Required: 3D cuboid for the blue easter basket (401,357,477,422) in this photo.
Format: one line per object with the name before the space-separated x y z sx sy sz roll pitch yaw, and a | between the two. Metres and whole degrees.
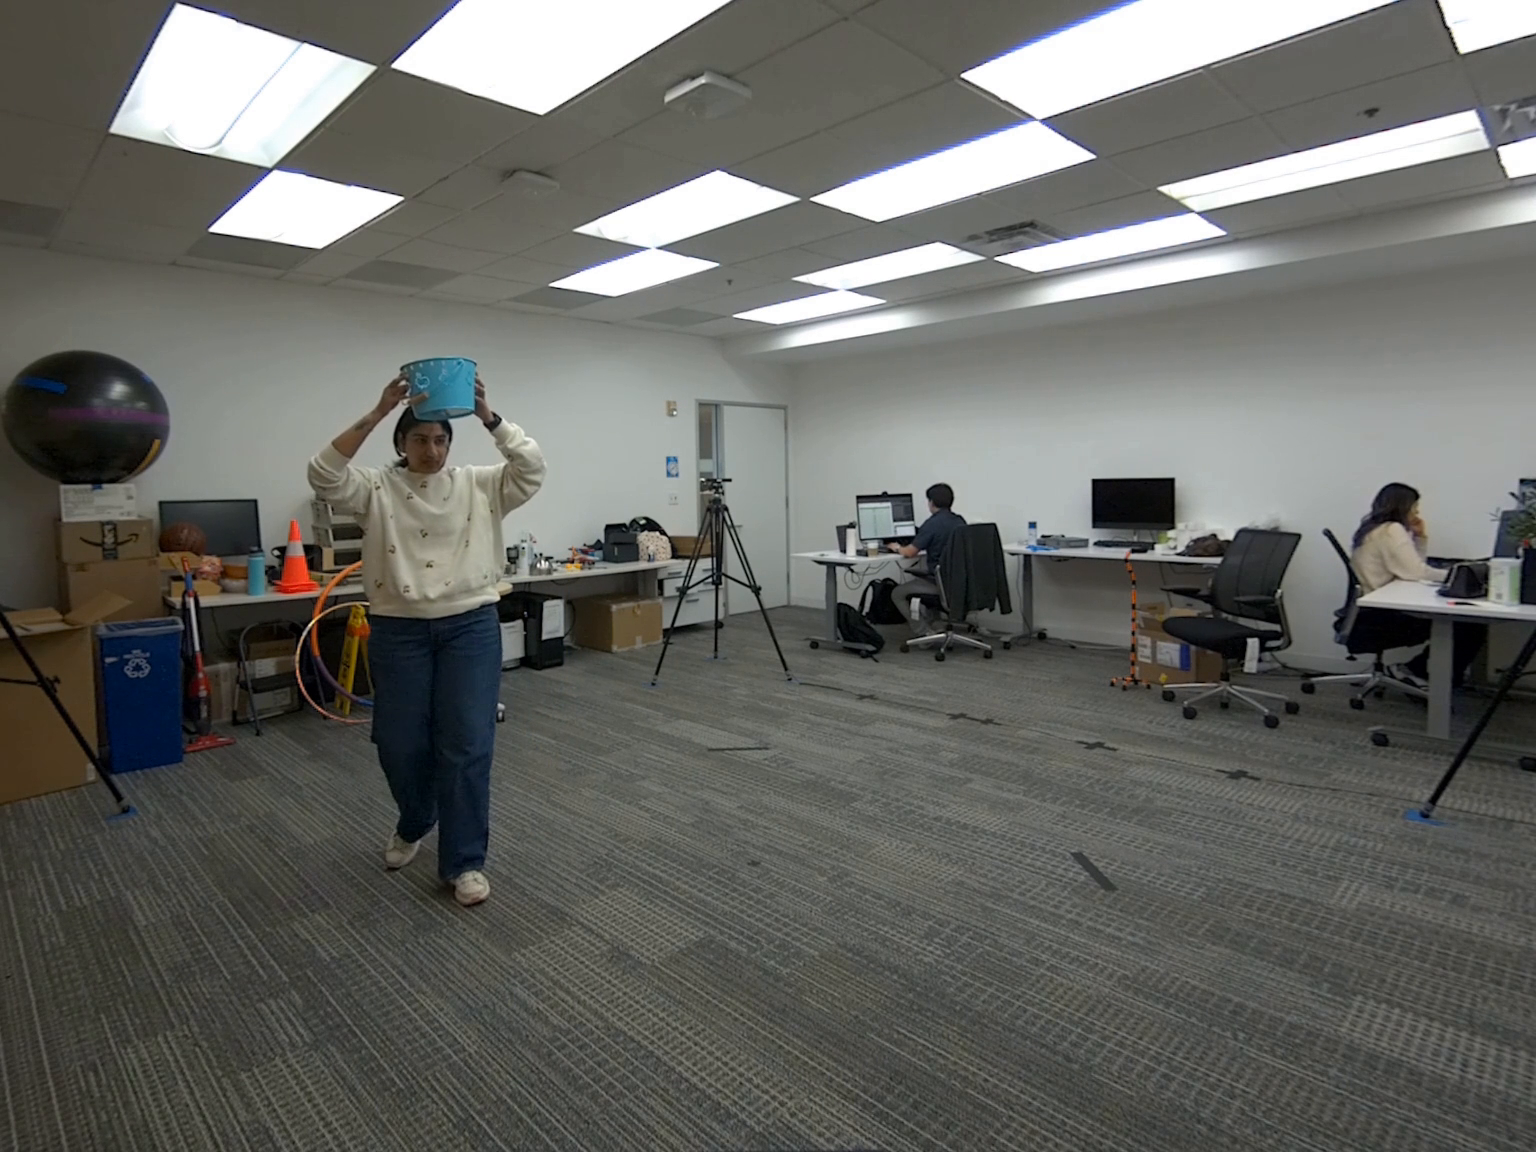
blue easter basket | -1.035 -0.580 2.676 0.243 0.156 0.244 -8 2 -1
